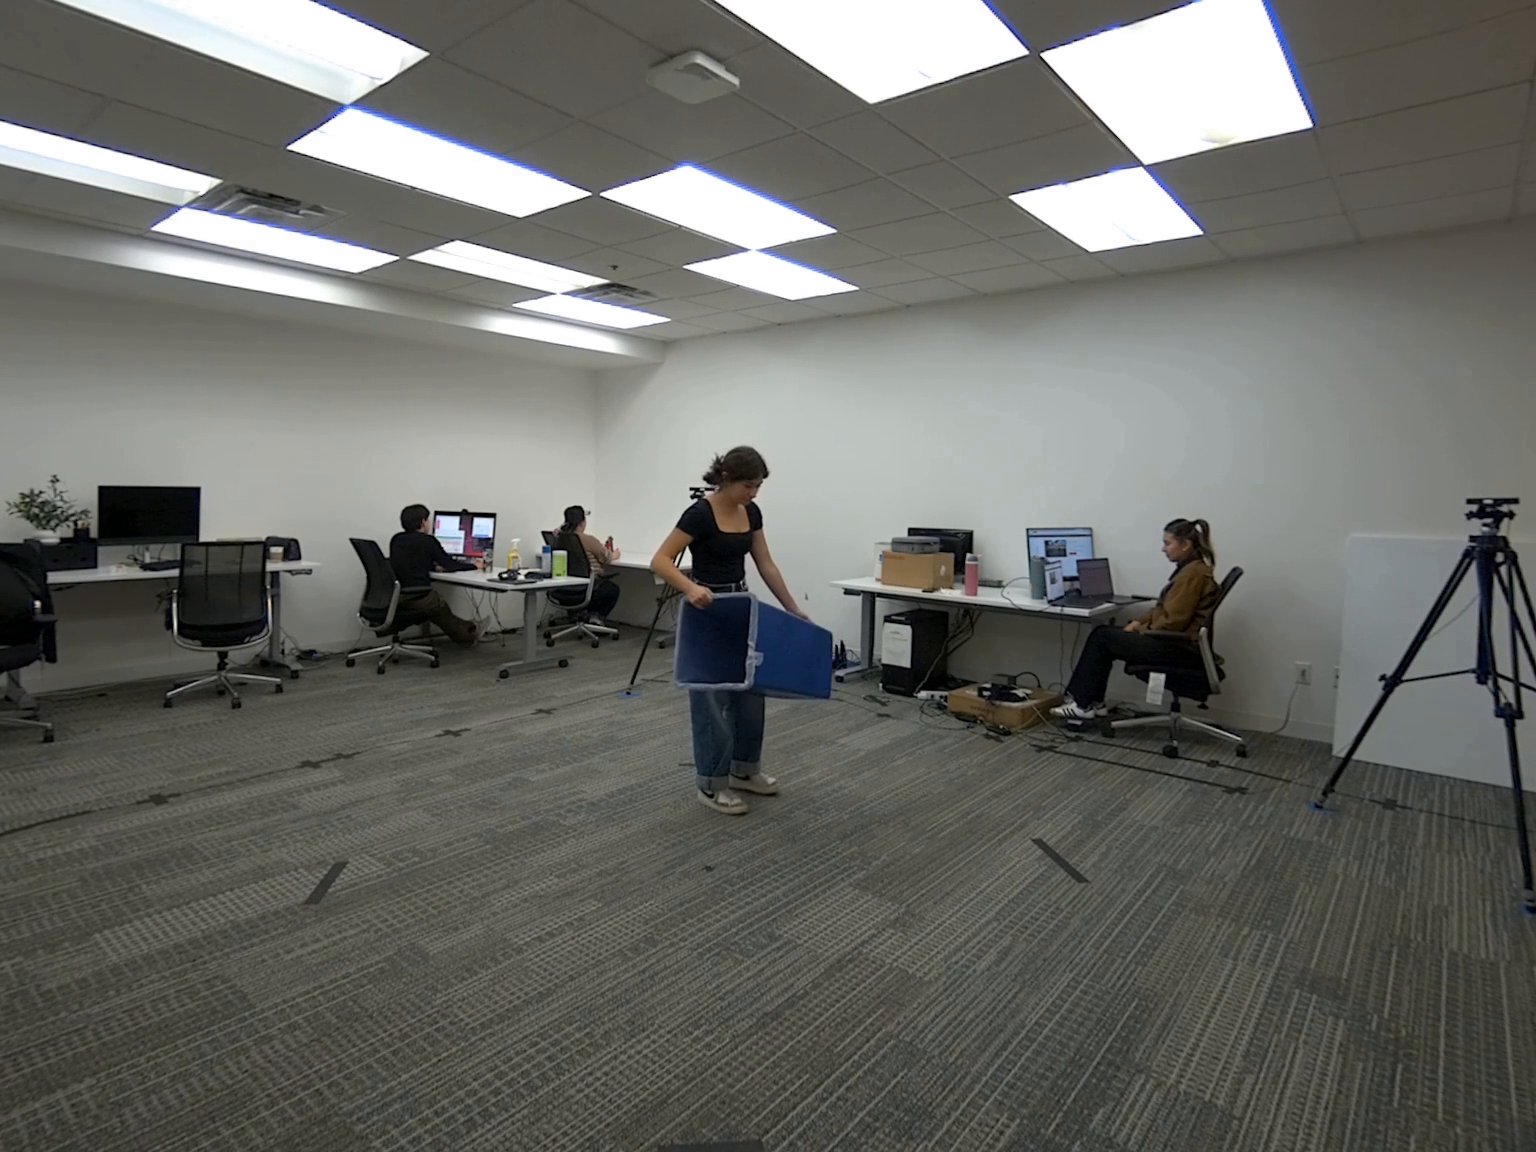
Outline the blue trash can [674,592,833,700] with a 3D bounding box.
[{"bbox_3d":[-0.025,0.334,3.583,0.388,0.379,0.685,-5,-17,33],"label":"blue trash can"}]
